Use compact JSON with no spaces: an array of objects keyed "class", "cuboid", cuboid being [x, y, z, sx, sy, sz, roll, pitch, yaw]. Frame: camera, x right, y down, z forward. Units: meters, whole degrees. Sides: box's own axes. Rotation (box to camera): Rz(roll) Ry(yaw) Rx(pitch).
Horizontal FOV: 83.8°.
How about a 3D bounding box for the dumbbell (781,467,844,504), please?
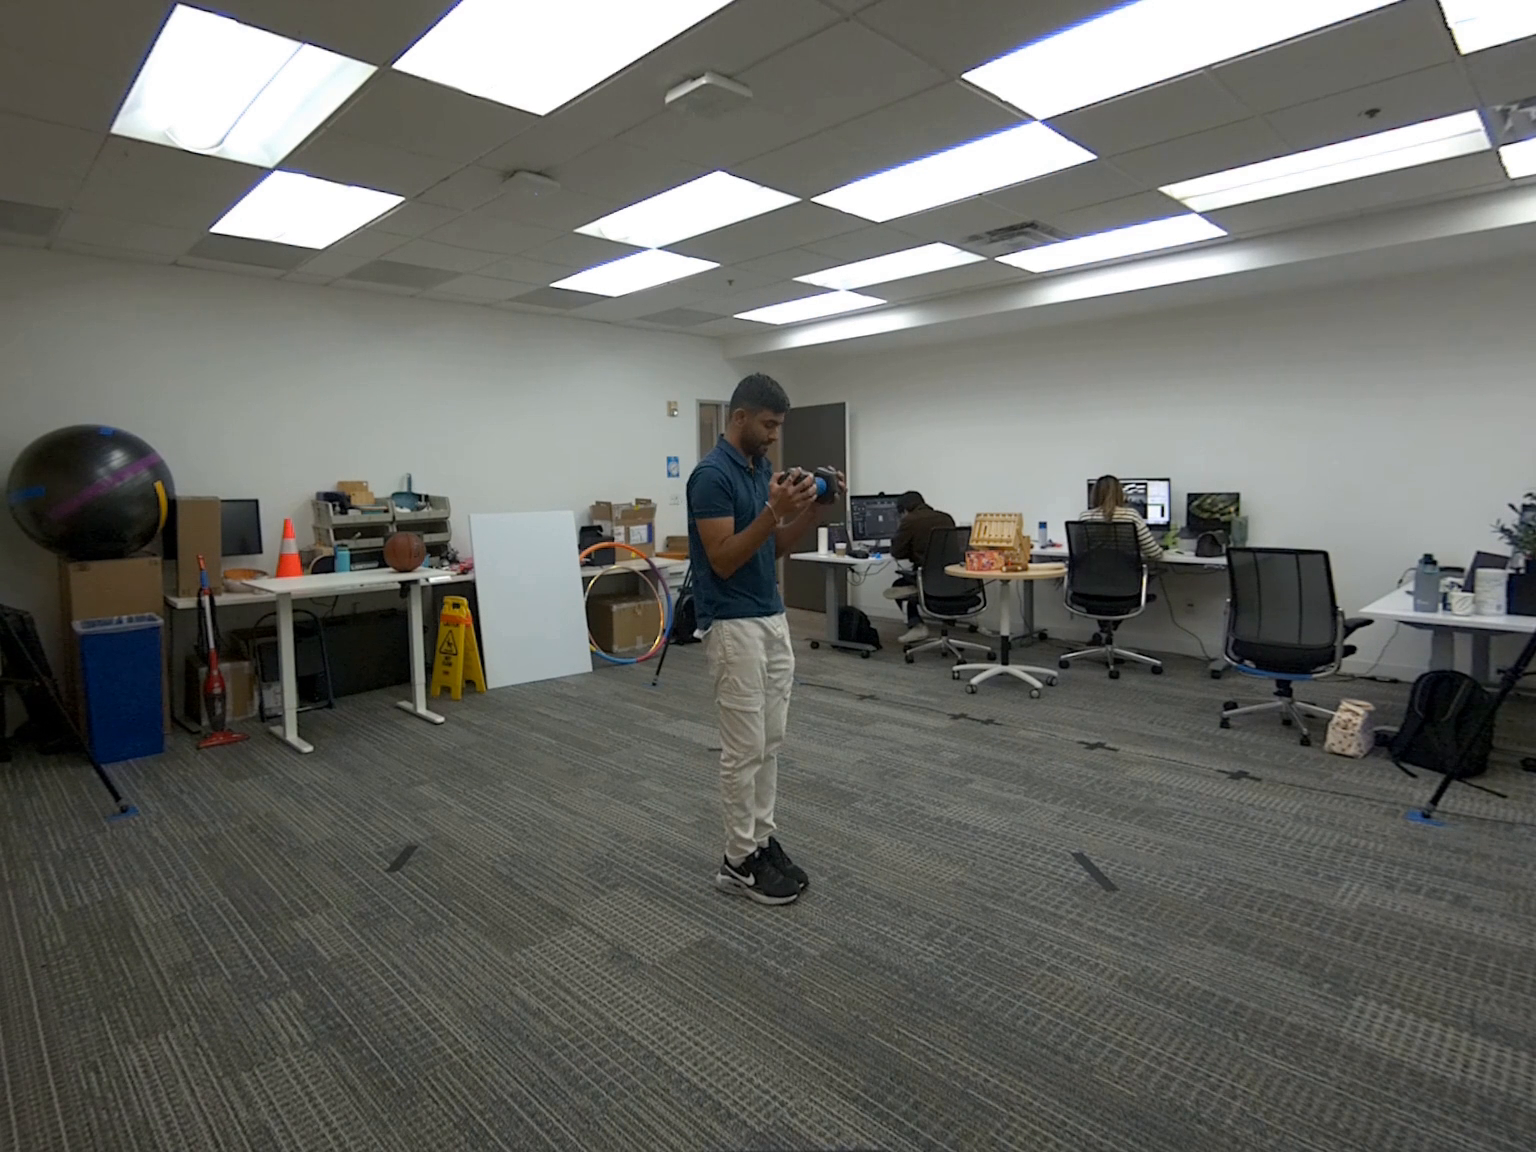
[{"class":"dumbbell","cuboid":[0.135,-0.277,2.793,0.127,0.107,0.287,22,18,29]}]
